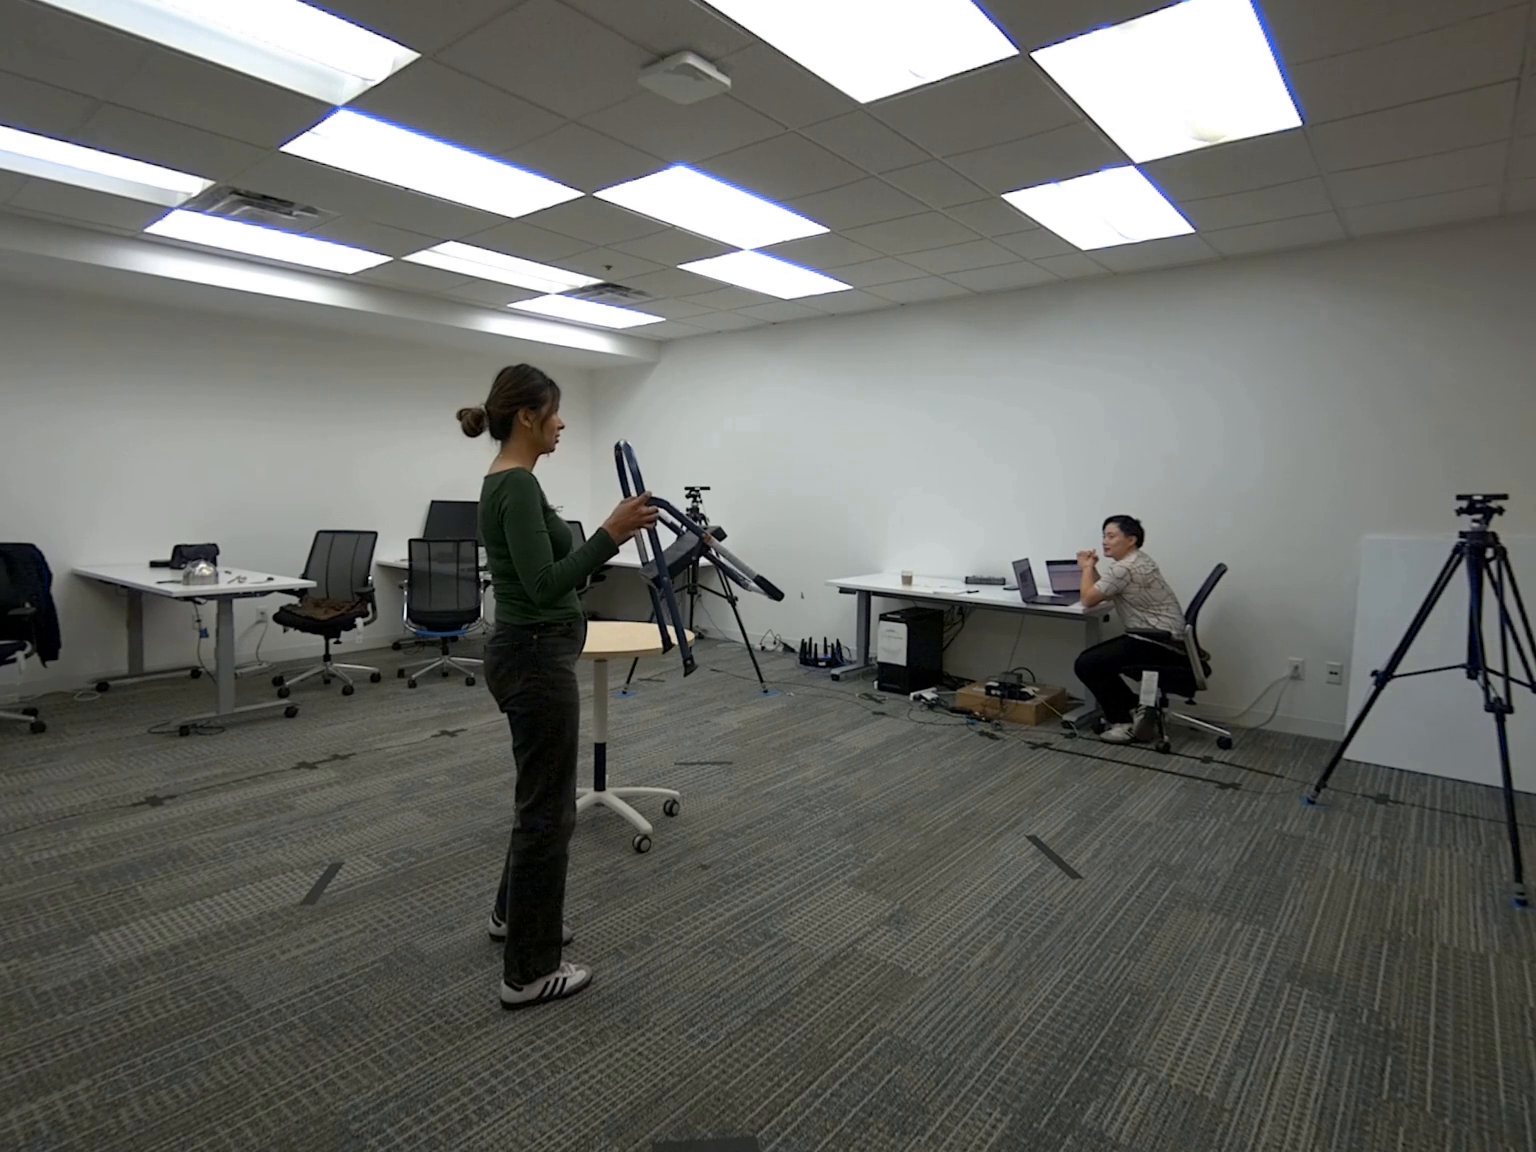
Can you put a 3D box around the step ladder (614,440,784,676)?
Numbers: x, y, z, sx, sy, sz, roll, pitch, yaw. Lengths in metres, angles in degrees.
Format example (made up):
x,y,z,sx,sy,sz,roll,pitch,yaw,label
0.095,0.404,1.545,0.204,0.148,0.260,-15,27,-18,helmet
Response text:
x,y,z,sx,sy,sz,roll,pitch,yaw,label
-0.316,-0.093,2.447,0.348,0.599,0.437,-37,9,-10,step ladder
